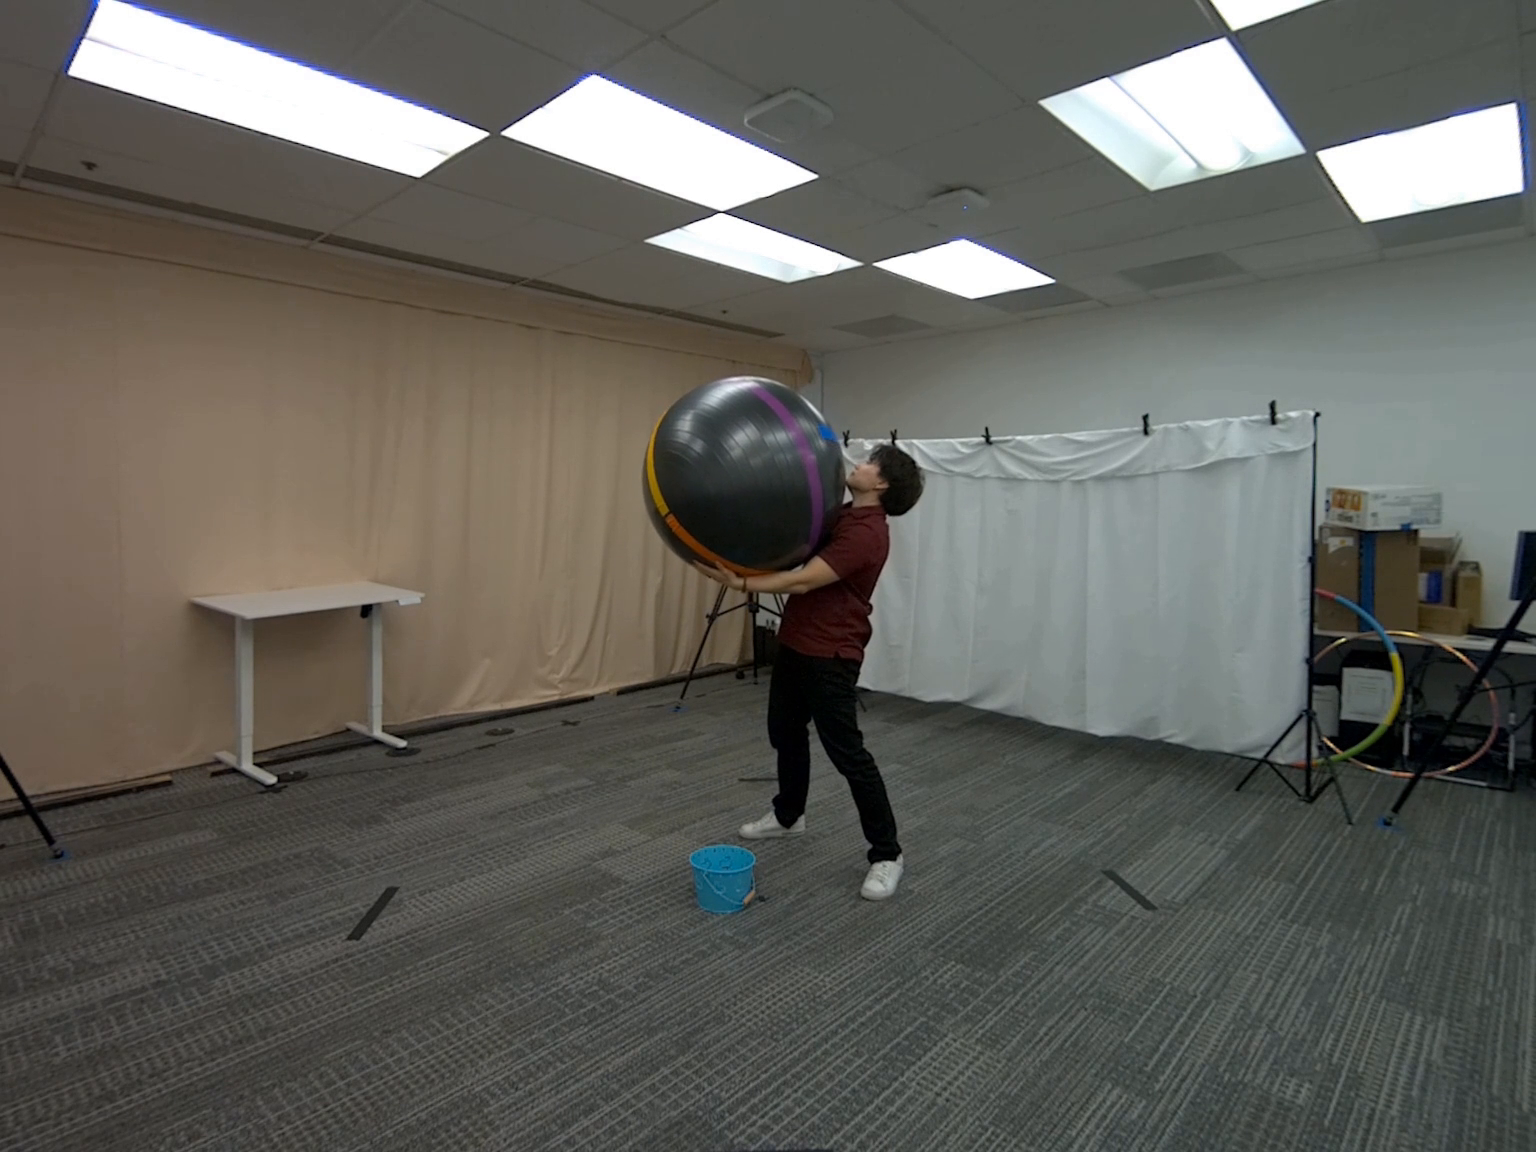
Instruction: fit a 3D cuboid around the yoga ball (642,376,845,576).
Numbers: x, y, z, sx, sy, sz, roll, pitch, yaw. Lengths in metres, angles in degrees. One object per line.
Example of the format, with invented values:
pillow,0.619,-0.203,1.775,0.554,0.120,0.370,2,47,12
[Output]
yoga ball,-0.090,-0.358,3.147,0.757,0.756,0.760,0,4,-2
